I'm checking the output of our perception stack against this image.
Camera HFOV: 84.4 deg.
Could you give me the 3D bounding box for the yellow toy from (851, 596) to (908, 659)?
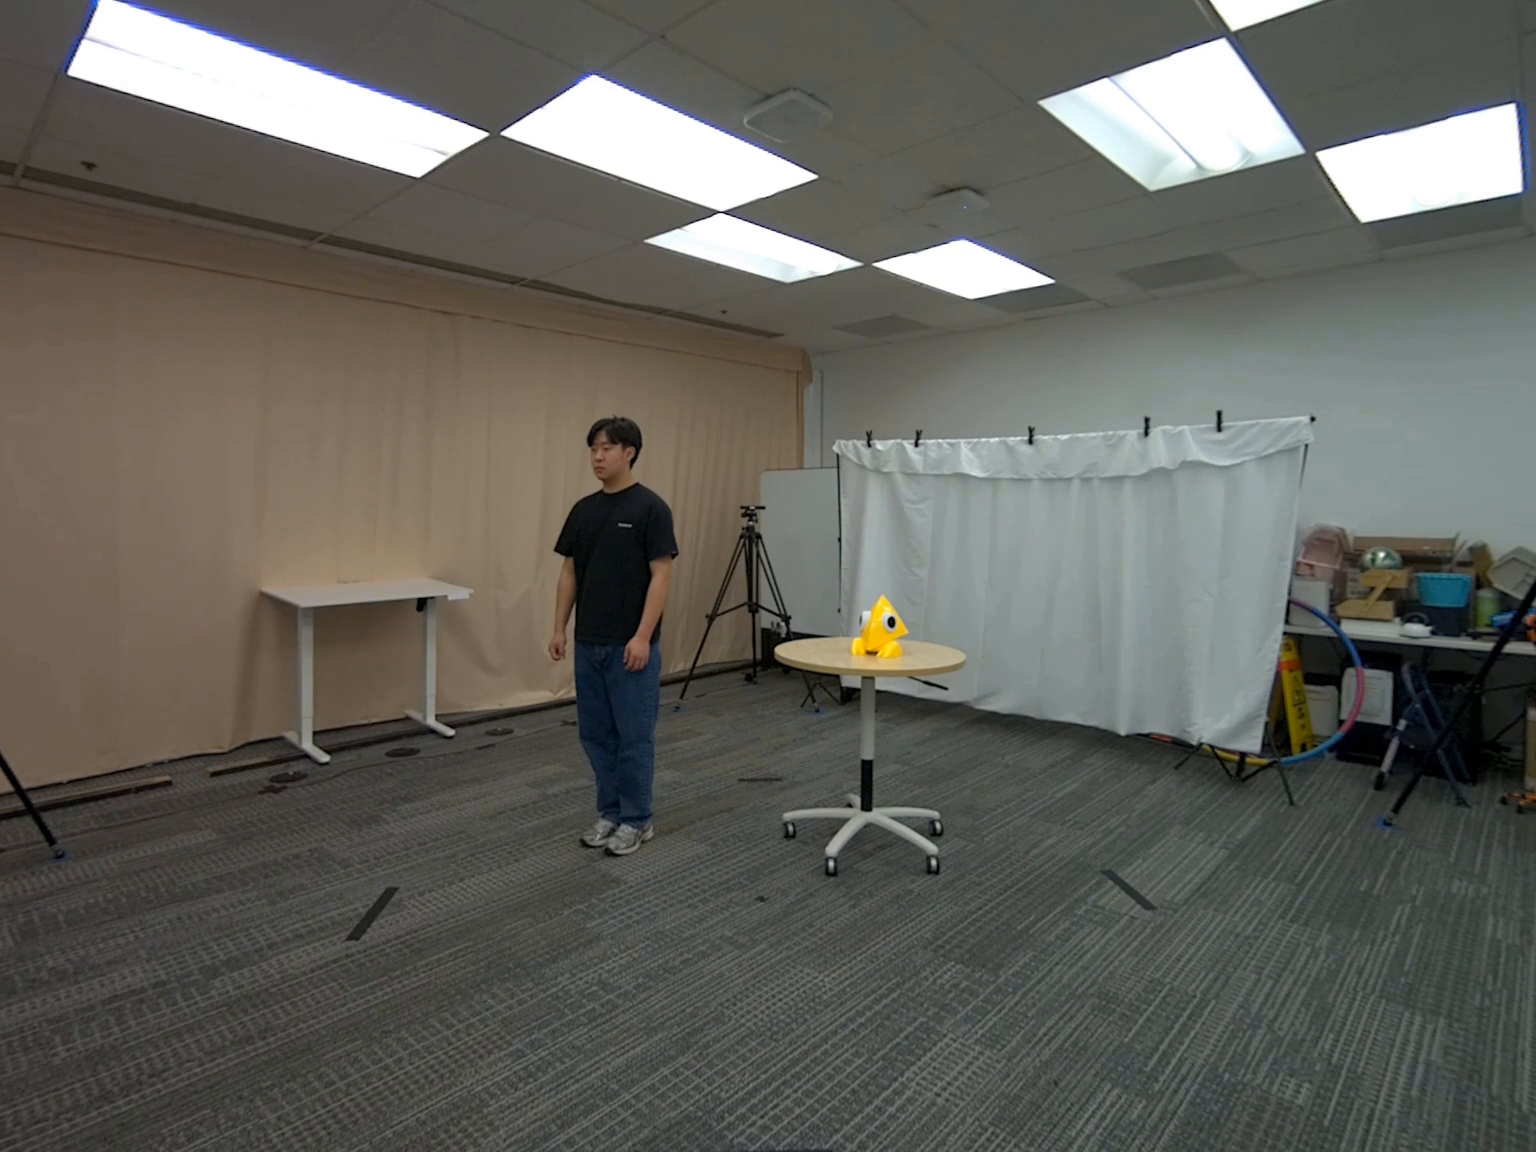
[{"bbox_3d":[0.449,0.198,3.404,0.210,0.230,0.188,2,4,29],"label":"yellow toy"}]
